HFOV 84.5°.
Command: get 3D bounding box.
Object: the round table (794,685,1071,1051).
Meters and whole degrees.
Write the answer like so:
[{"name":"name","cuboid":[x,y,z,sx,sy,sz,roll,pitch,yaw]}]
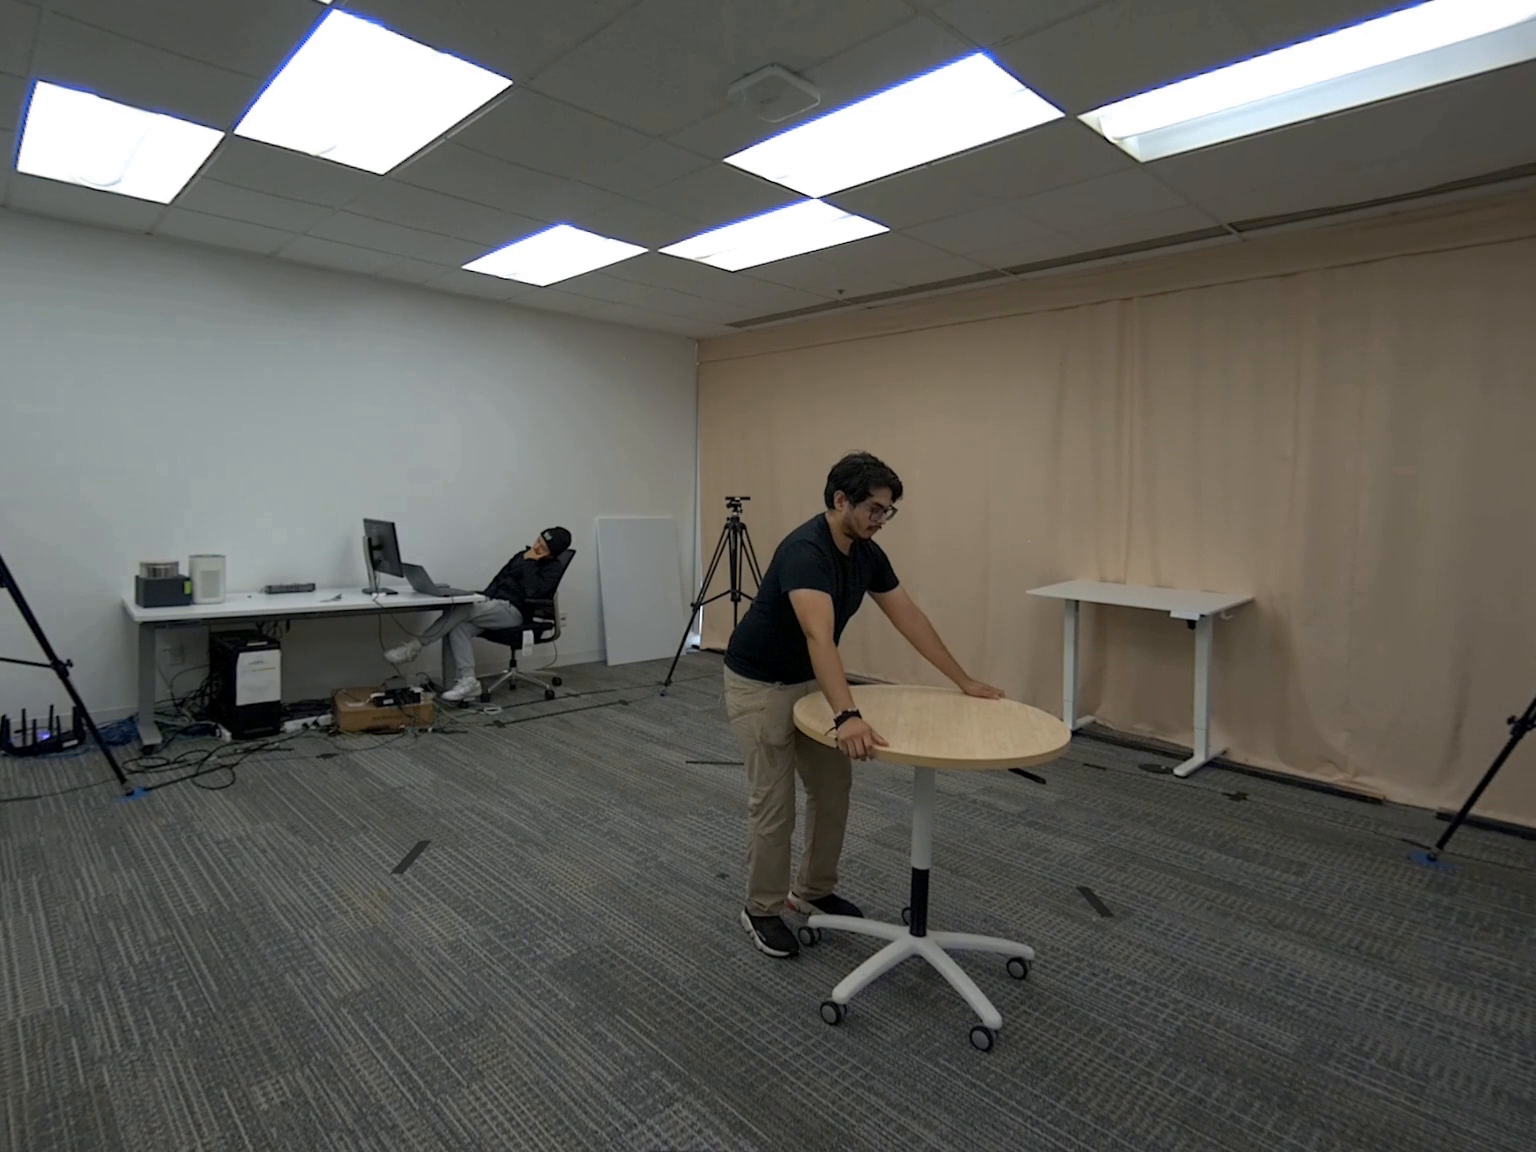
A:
[{"name":"round table","cuboid":[0.447,0.785,2.445,0.784,0.784,0.788,2,4,-2]}]
